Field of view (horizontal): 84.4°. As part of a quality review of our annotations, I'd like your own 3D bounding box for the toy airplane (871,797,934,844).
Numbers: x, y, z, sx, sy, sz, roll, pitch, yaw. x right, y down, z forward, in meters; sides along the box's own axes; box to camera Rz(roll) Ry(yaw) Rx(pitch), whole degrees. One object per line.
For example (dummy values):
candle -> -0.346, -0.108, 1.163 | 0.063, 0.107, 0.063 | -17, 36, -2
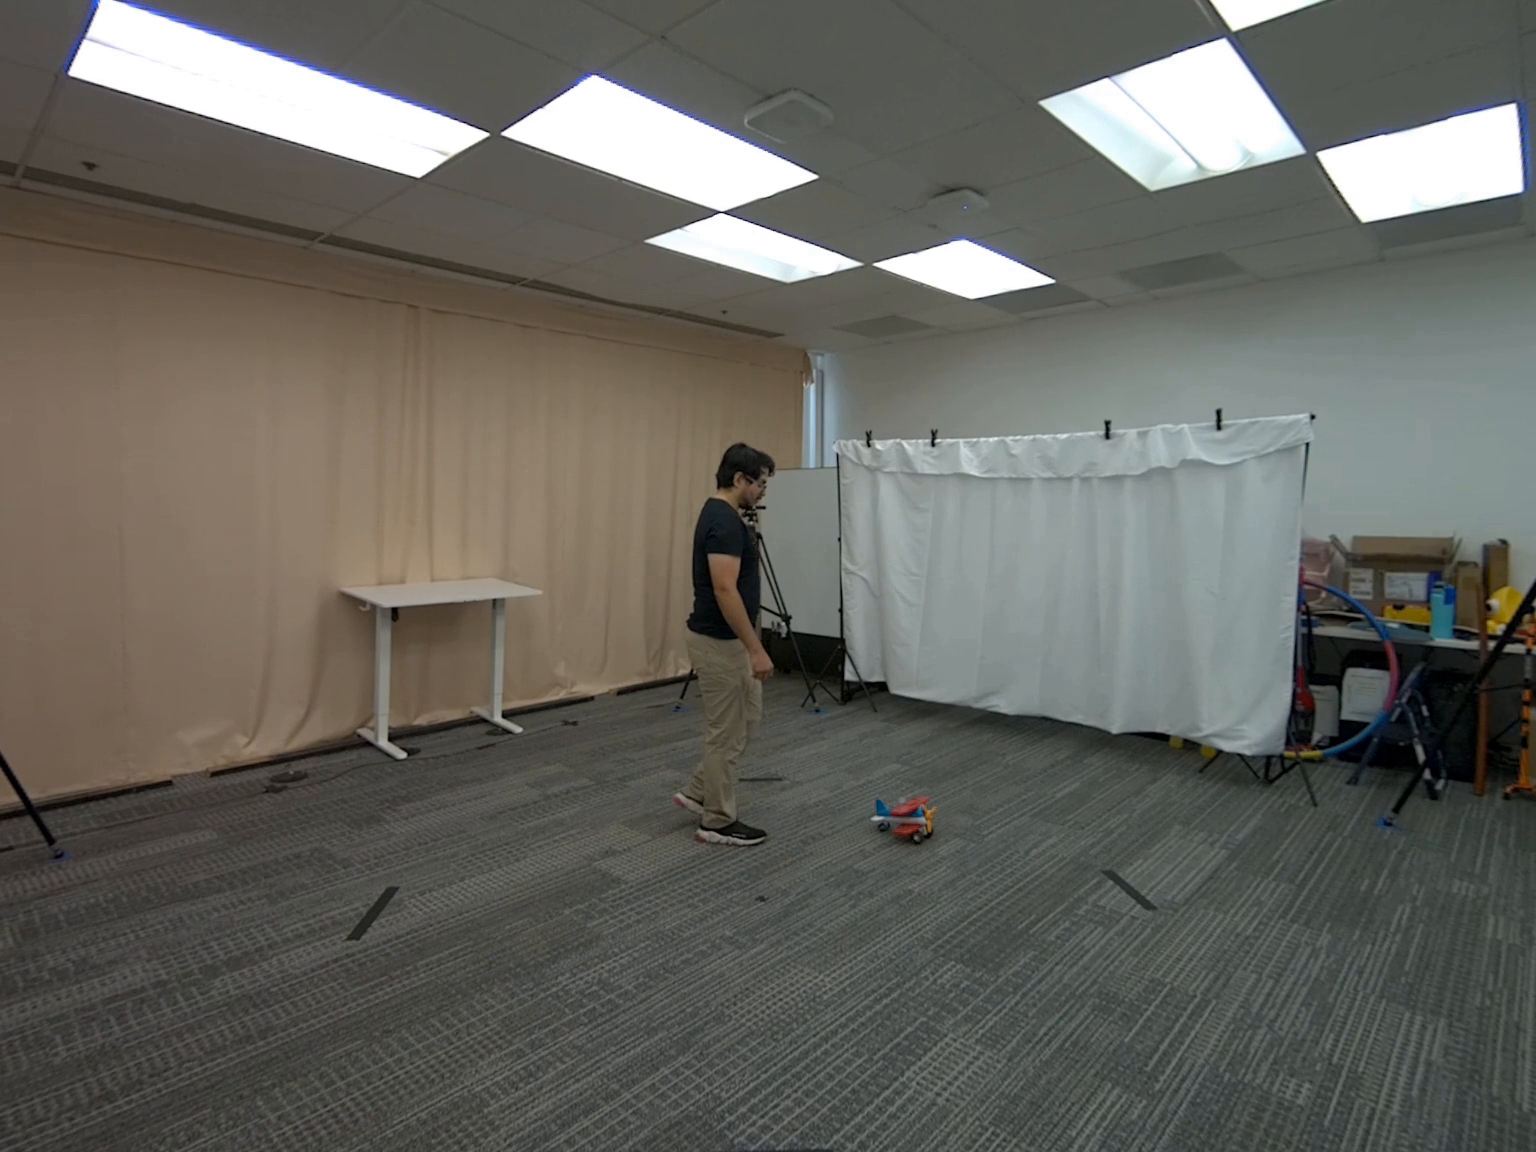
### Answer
toy airplane -> 0.559, 1.019, 3.536 | 0.262, 0.156, 0.249 | 2, 4, 8
